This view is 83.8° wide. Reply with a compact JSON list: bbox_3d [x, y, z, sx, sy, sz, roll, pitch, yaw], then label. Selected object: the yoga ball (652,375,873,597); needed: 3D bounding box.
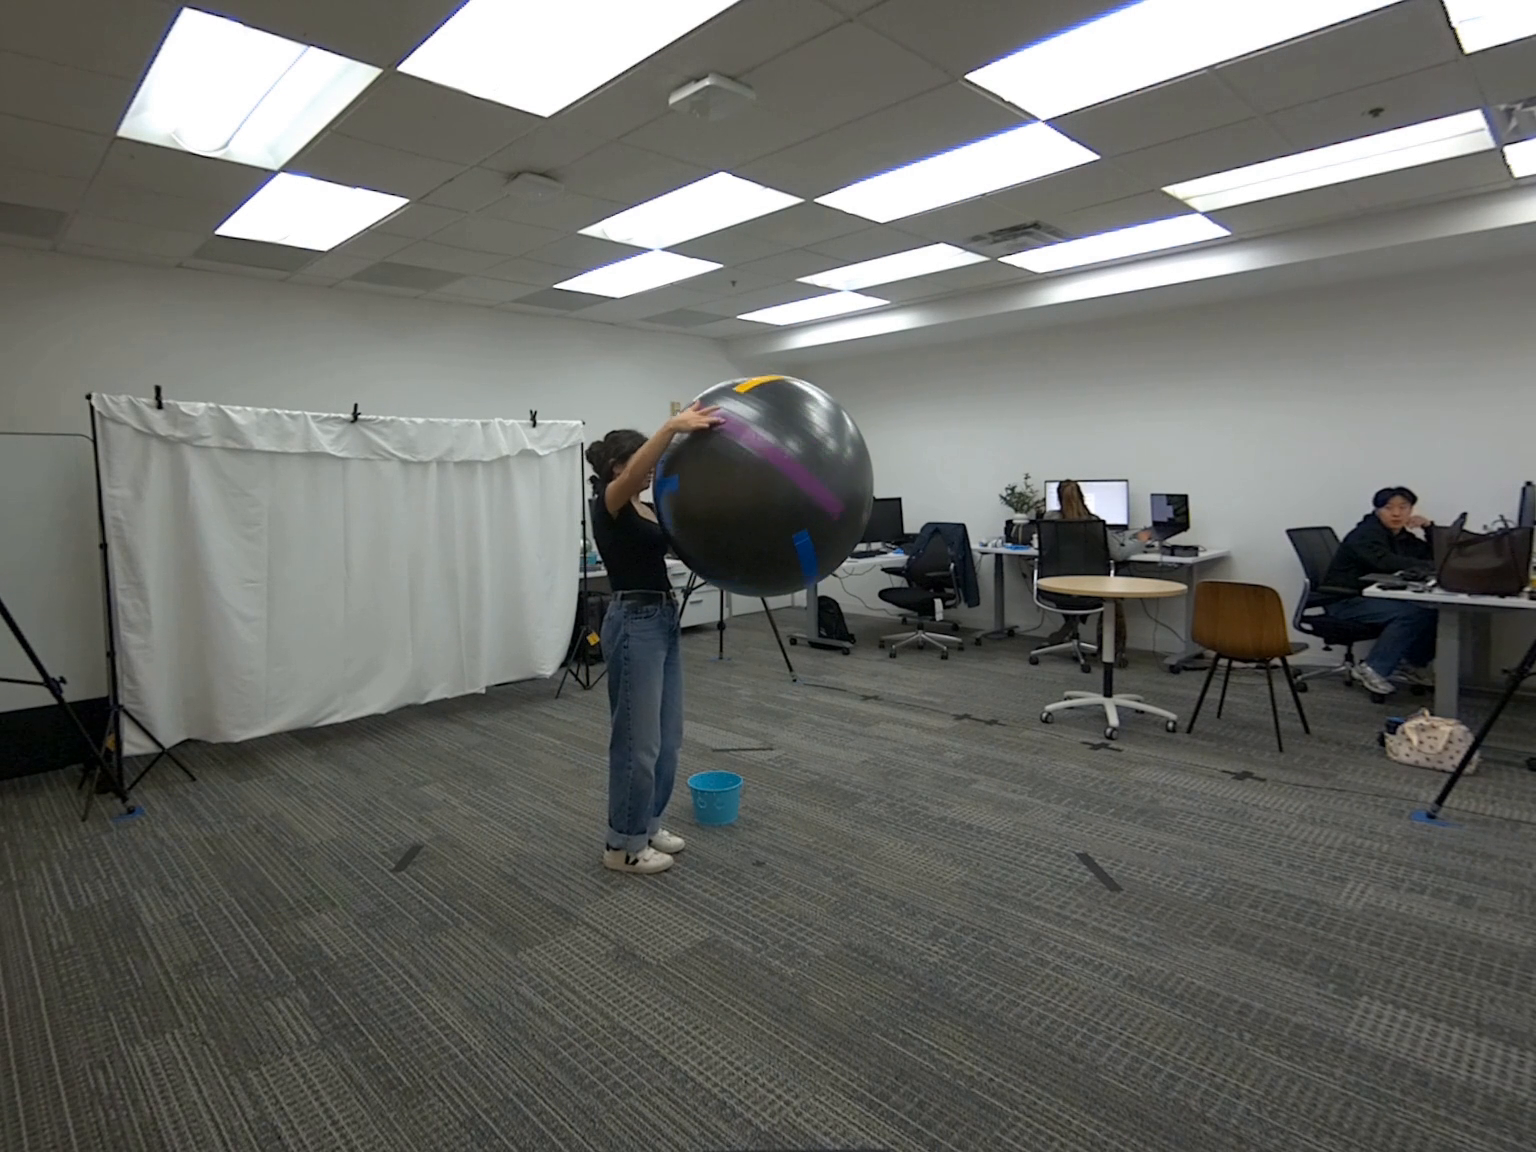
[{"bbox_3d":[-0.016,-0.306,2.934,0.757,0.755,0.762,-1,5,-2],"label":"yoga ball"}]
